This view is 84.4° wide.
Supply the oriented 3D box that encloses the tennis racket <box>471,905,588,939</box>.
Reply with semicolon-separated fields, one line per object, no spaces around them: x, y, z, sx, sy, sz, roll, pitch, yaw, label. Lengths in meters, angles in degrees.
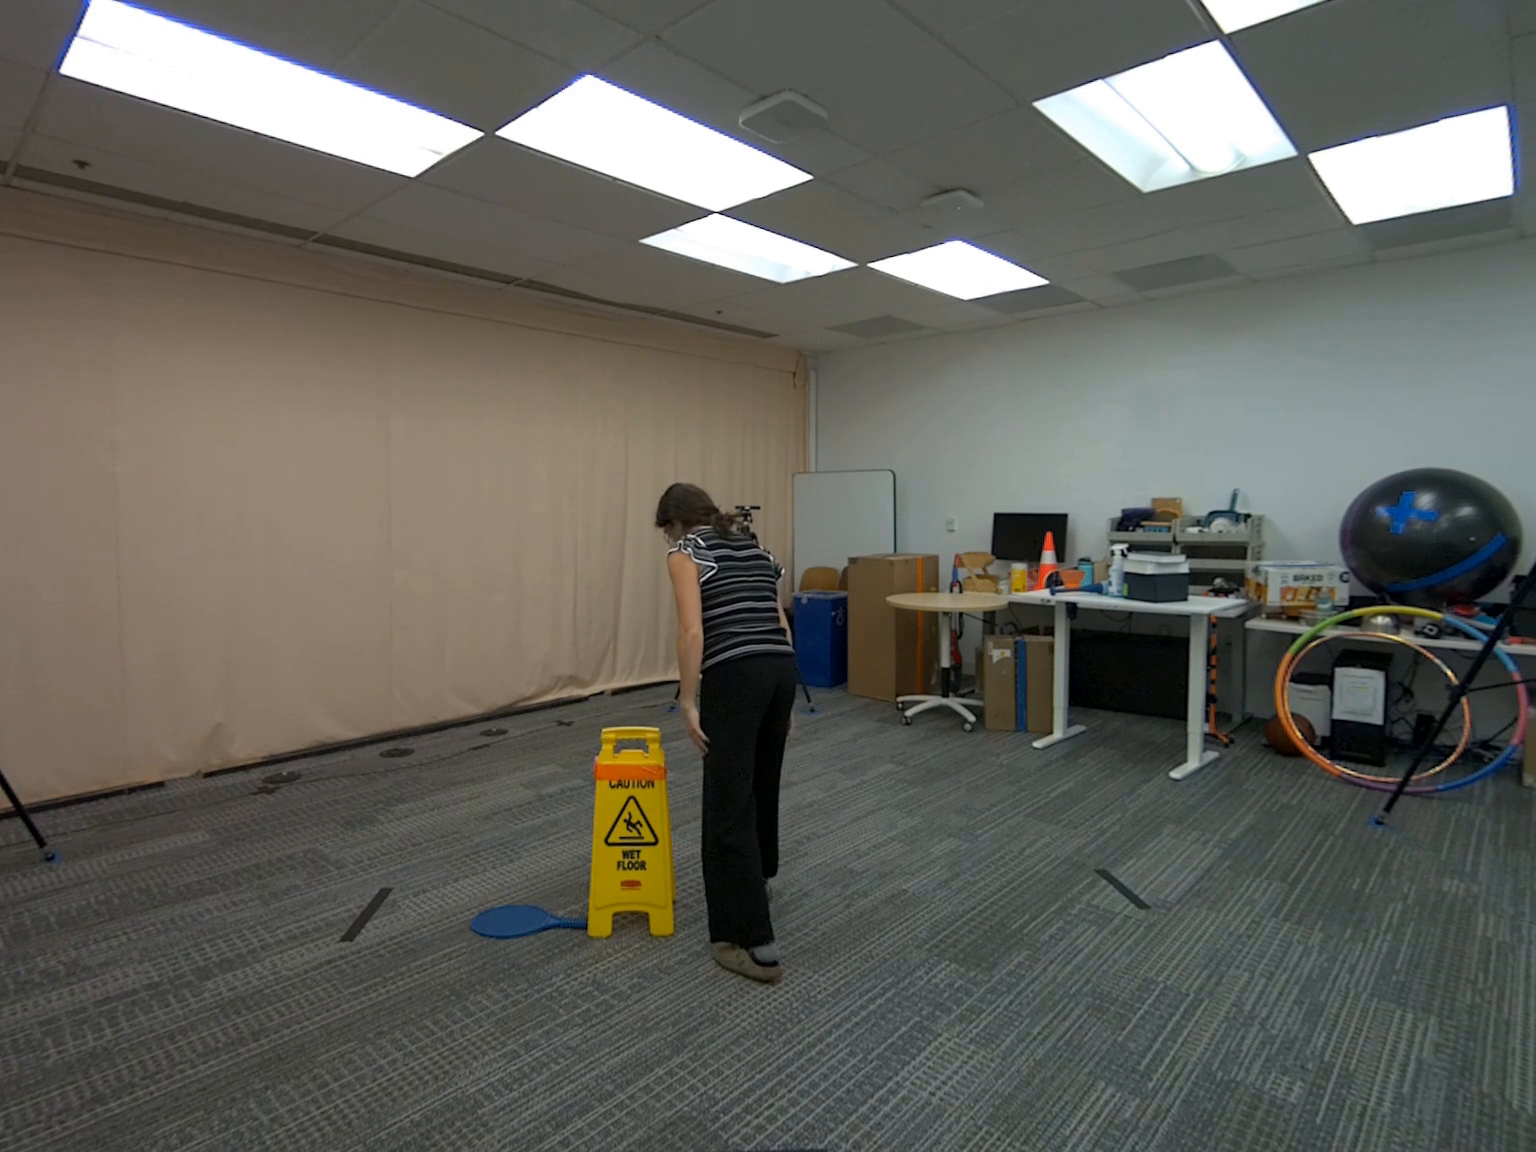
-0.784;1.159;2.807;0.437;0.032;0.212;-2;5;8;tennis racket
